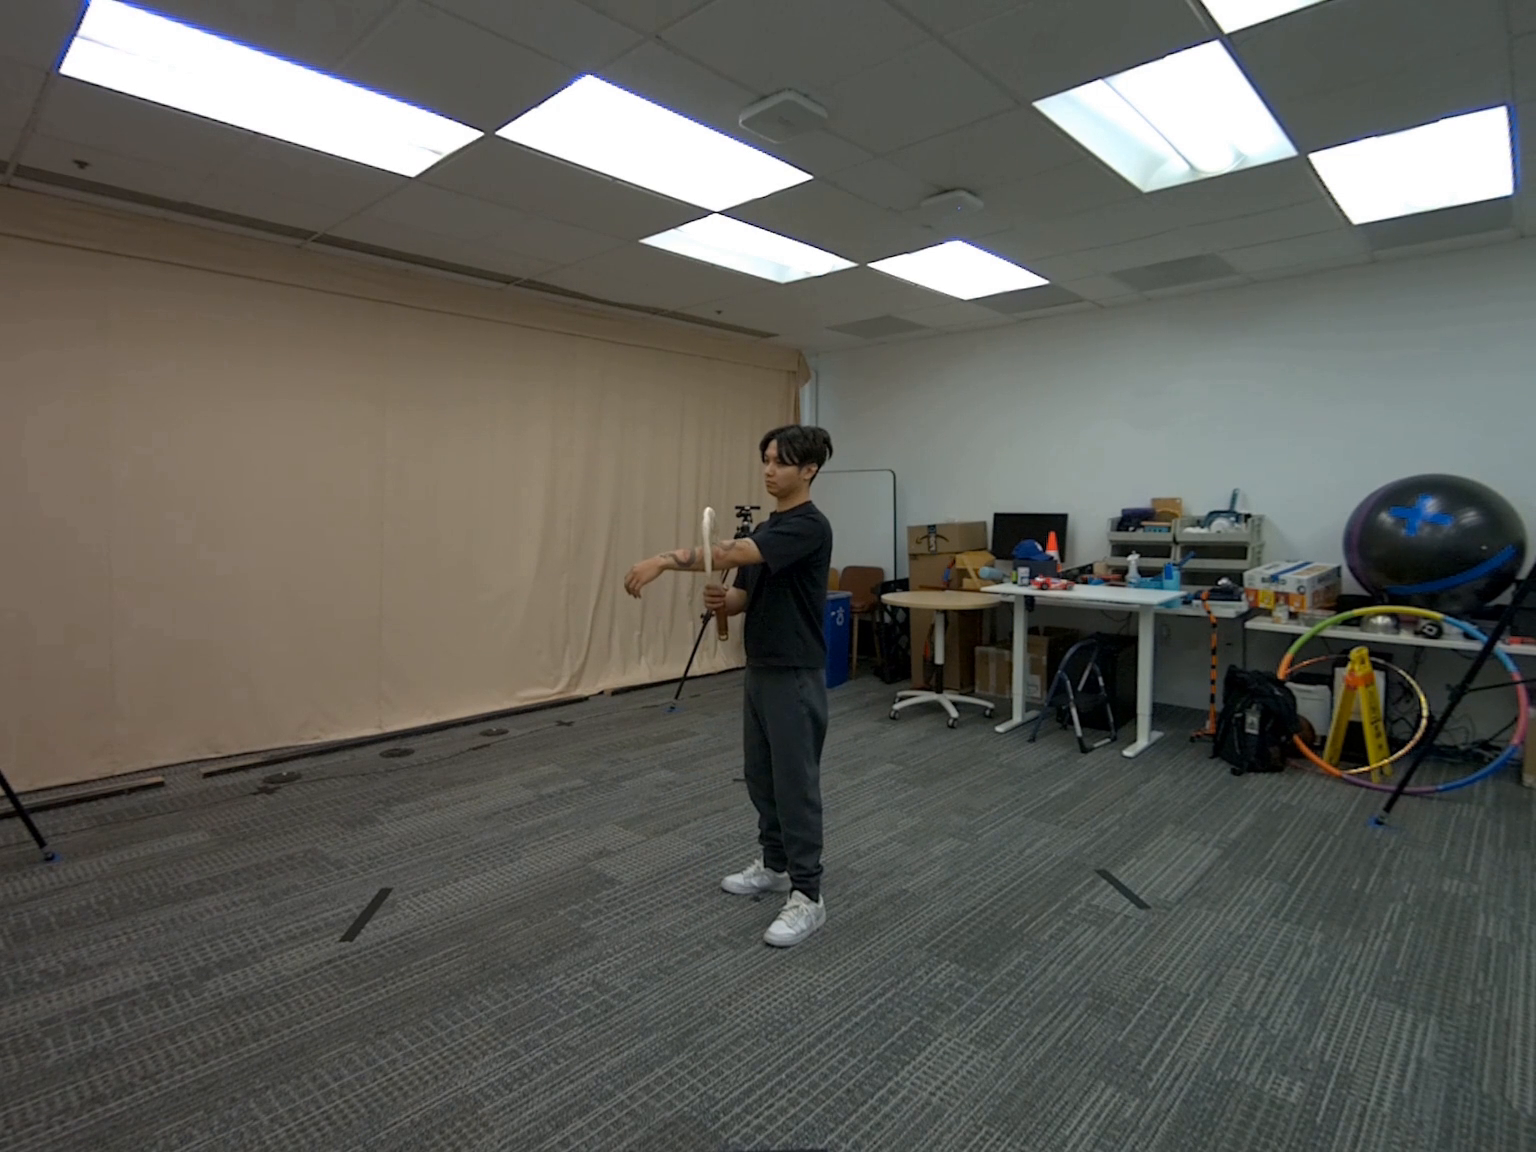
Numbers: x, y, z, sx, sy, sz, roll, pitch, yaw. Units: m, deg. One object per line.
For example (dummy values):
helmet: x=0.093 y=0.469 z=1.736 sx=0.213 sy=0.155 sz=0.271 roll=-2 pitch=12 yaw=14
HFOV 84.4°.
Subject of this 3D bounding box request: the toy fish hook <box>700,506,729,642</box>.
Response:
toy fish hook: x=-0.169 y=0.027 z=2.654 sx=0.048 sy=0.497 sz=0.227 roll=-3 pitch=31 yaw=4
